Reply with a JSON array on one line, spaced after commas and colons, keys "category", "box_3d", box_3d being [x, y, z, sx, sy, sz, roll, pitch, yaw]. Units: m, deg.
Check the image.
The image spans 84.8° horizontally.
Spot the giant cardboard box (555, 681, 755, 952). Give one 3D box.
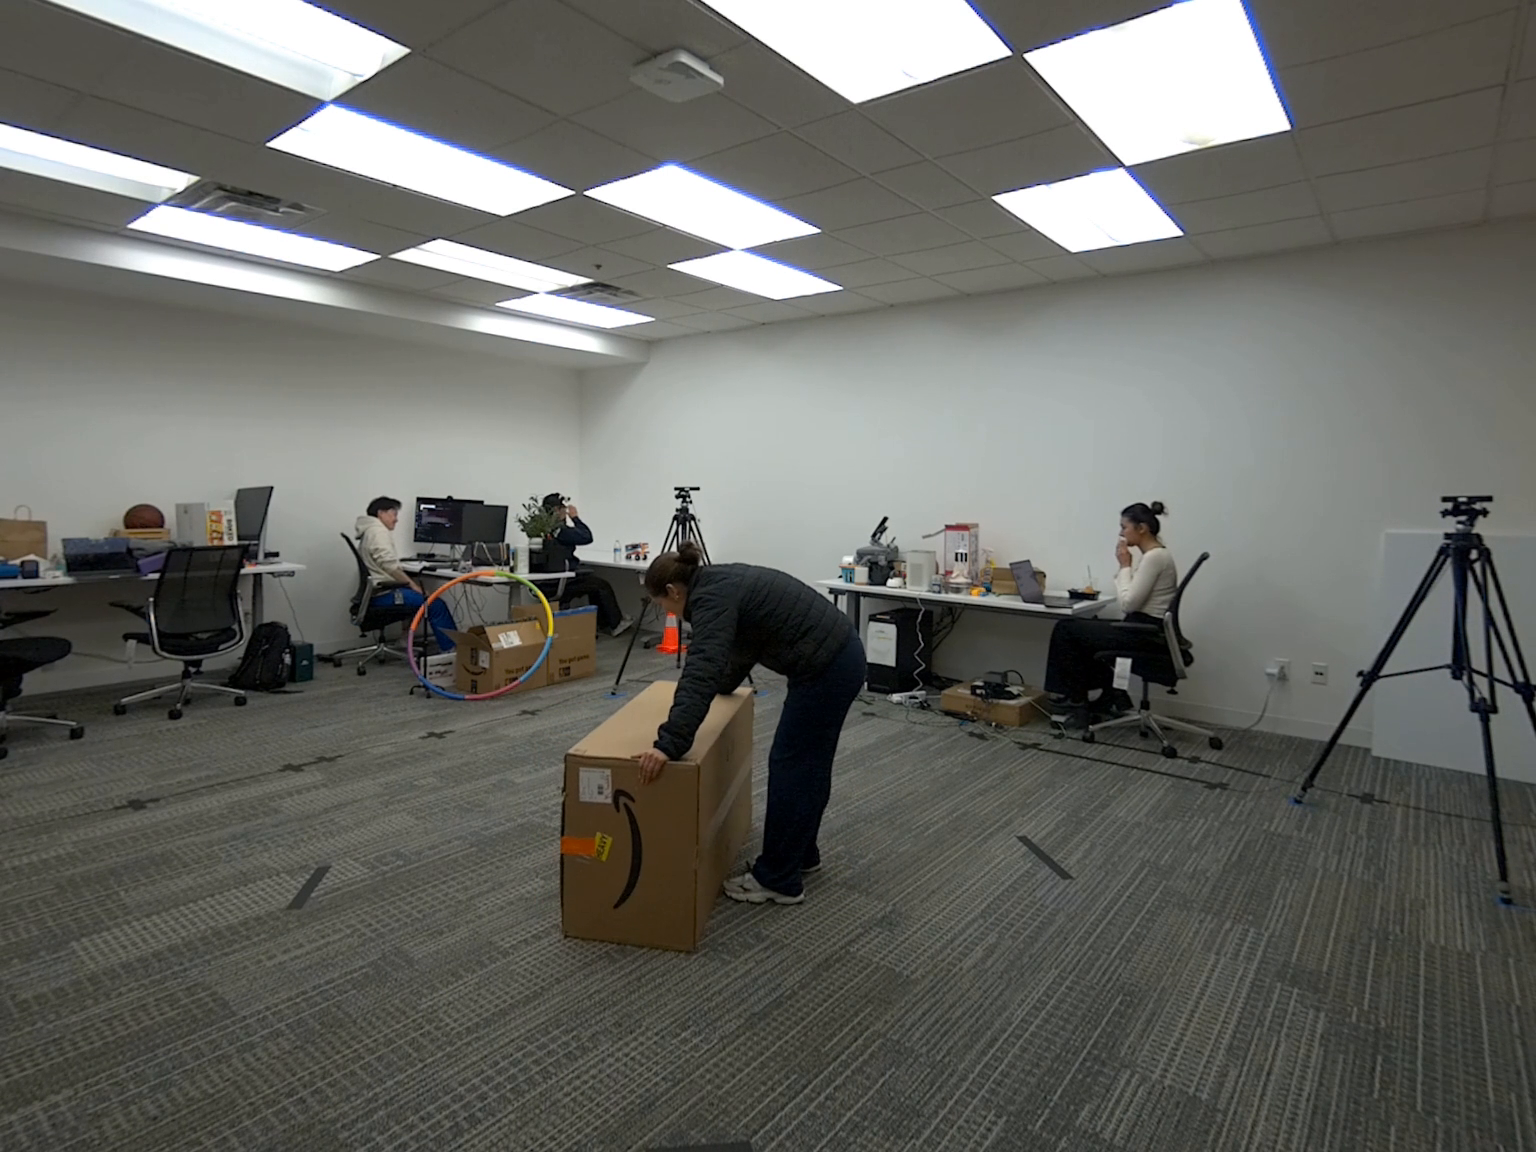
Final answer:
[{"category": "giant cardboard box", "box_3d": [-0.344, 0.780, 3.071, 0.452, 0.581, 1.018, 3, 5, 10]}]
